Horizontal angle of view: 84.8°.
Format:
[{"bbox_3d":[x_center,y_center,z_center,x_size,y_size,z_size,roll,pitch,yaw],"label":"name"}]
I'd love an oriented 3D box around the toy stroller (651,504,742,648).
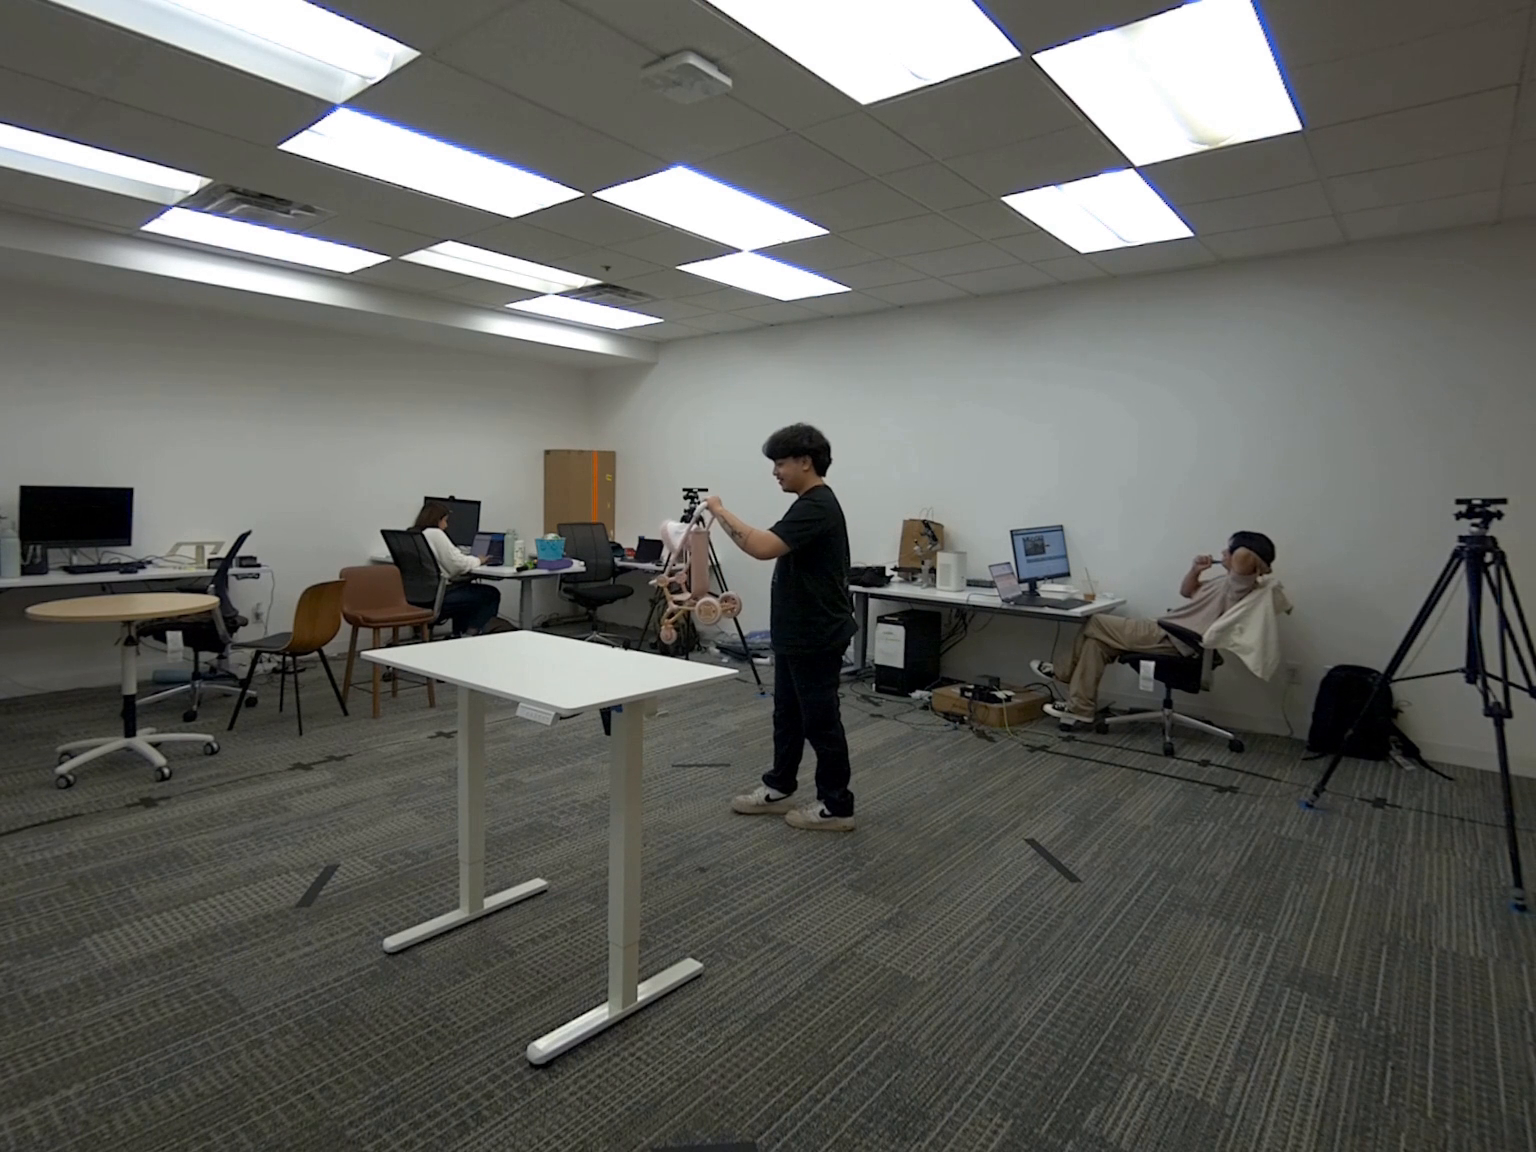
[{"bbox_3d":[-0.335,-0.009,3.479,0.348,0.536,0.275,-11,-2,23],"label":"toy stroller"}]
